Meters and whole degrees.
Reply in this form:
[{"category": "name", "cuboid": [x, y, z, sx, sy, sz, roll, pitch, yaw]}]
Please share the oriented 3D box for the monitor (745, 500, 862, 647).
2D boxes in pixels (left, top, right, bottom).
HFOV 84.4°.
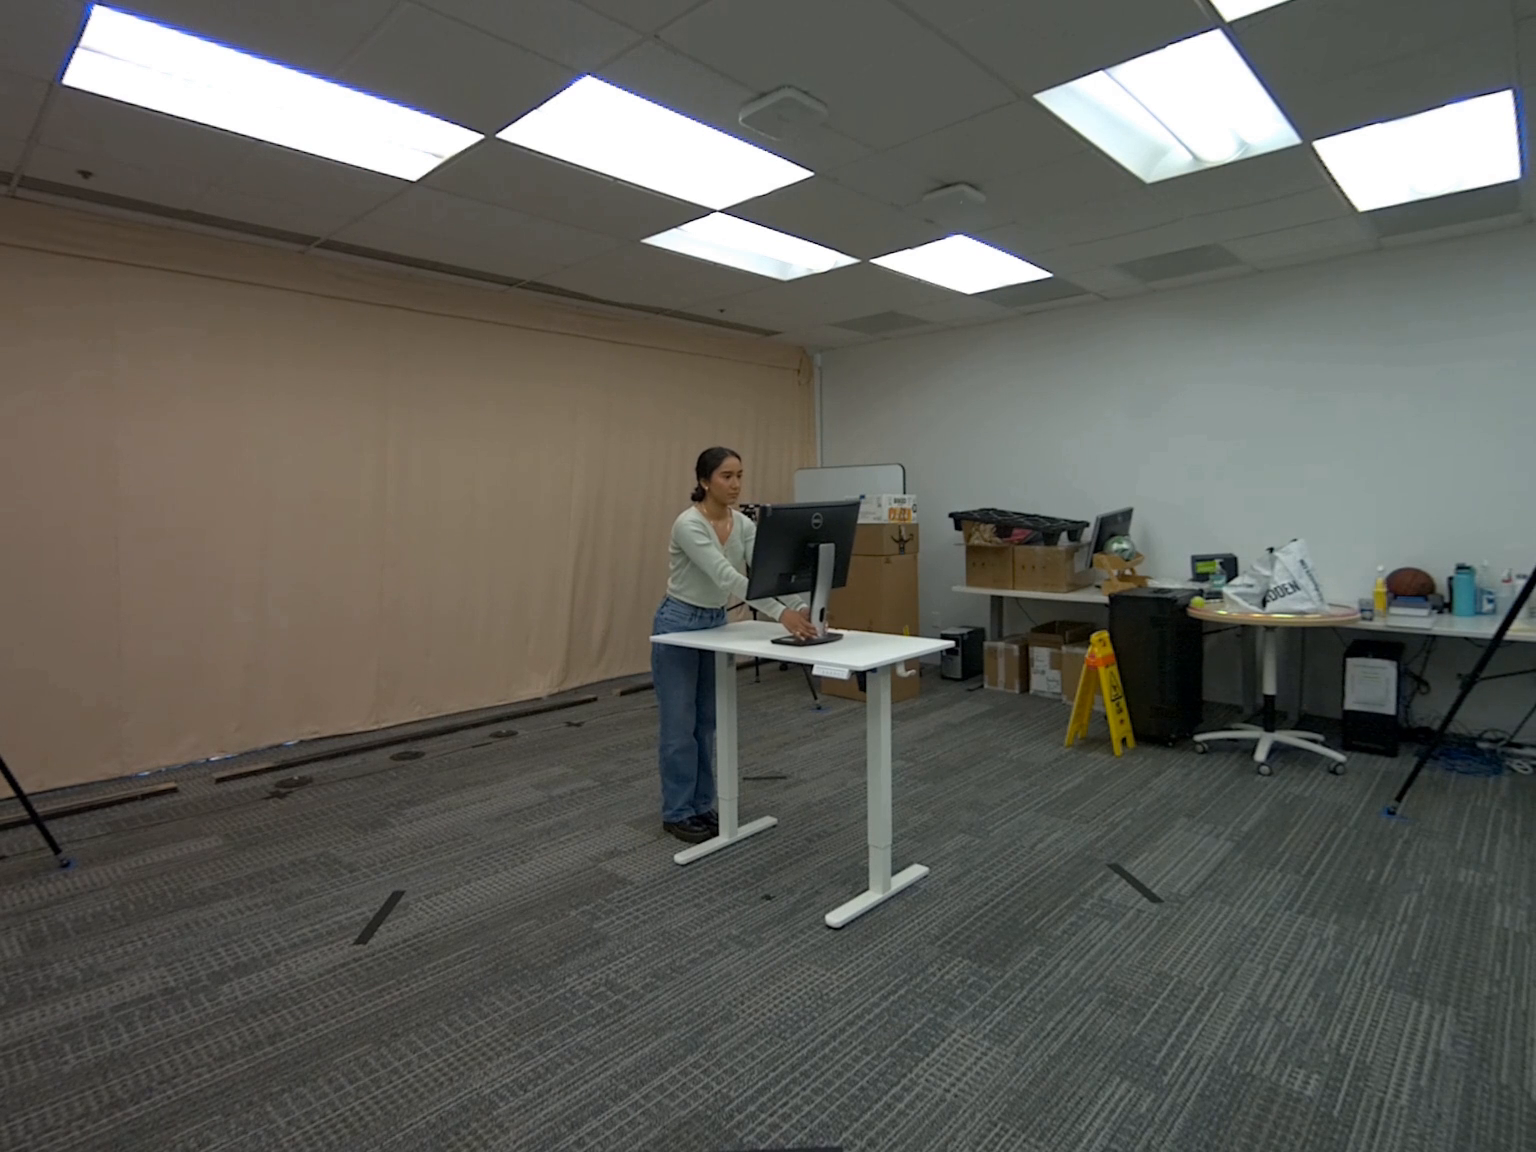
[{"category": "monitor", "cuboid": [0.166, -0.010, 3.101, 0.523, 0.521, 0.193, -6, 8, -44]}]
